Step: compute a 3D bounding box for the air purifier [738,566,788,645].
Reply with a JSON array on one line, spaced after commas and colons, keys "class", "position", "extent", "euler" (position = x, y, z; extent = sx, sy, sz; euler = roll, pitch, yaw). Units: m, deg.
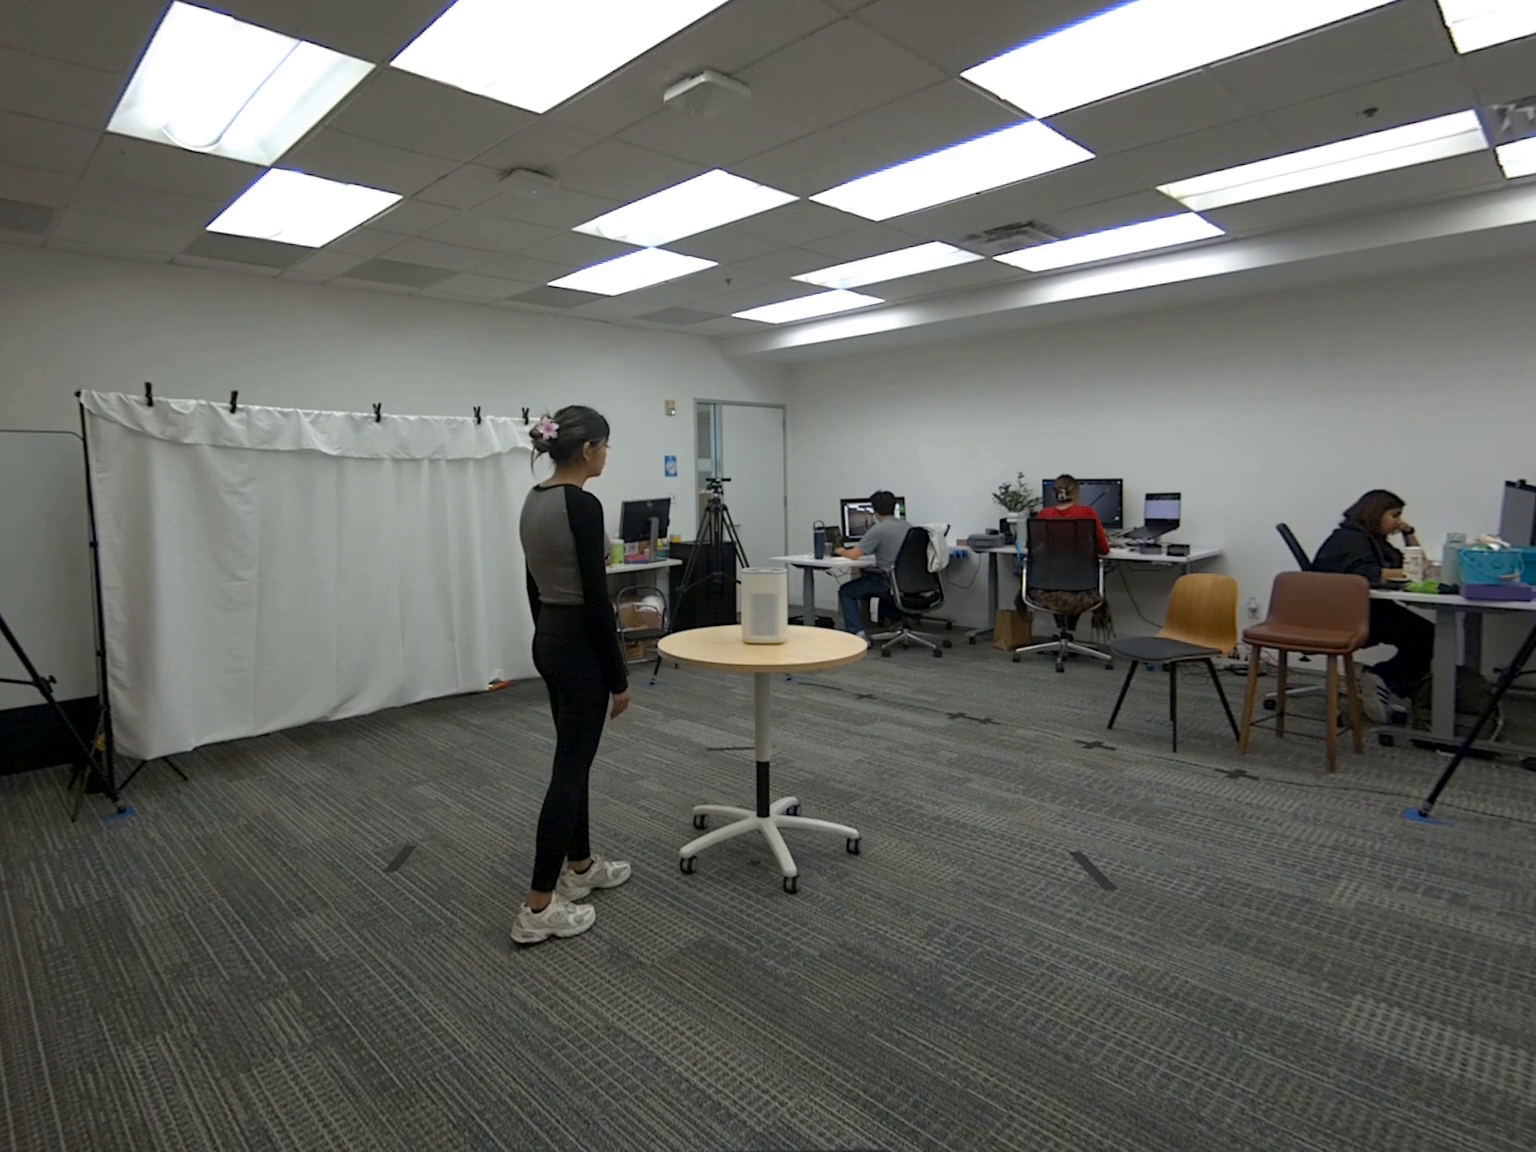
[{"class": "air purifier", "position": [-0.009, 0.109, 3.161], "extent": [0.171, 0.265, 0.172], "euler": [-1, 3, -2]}]
